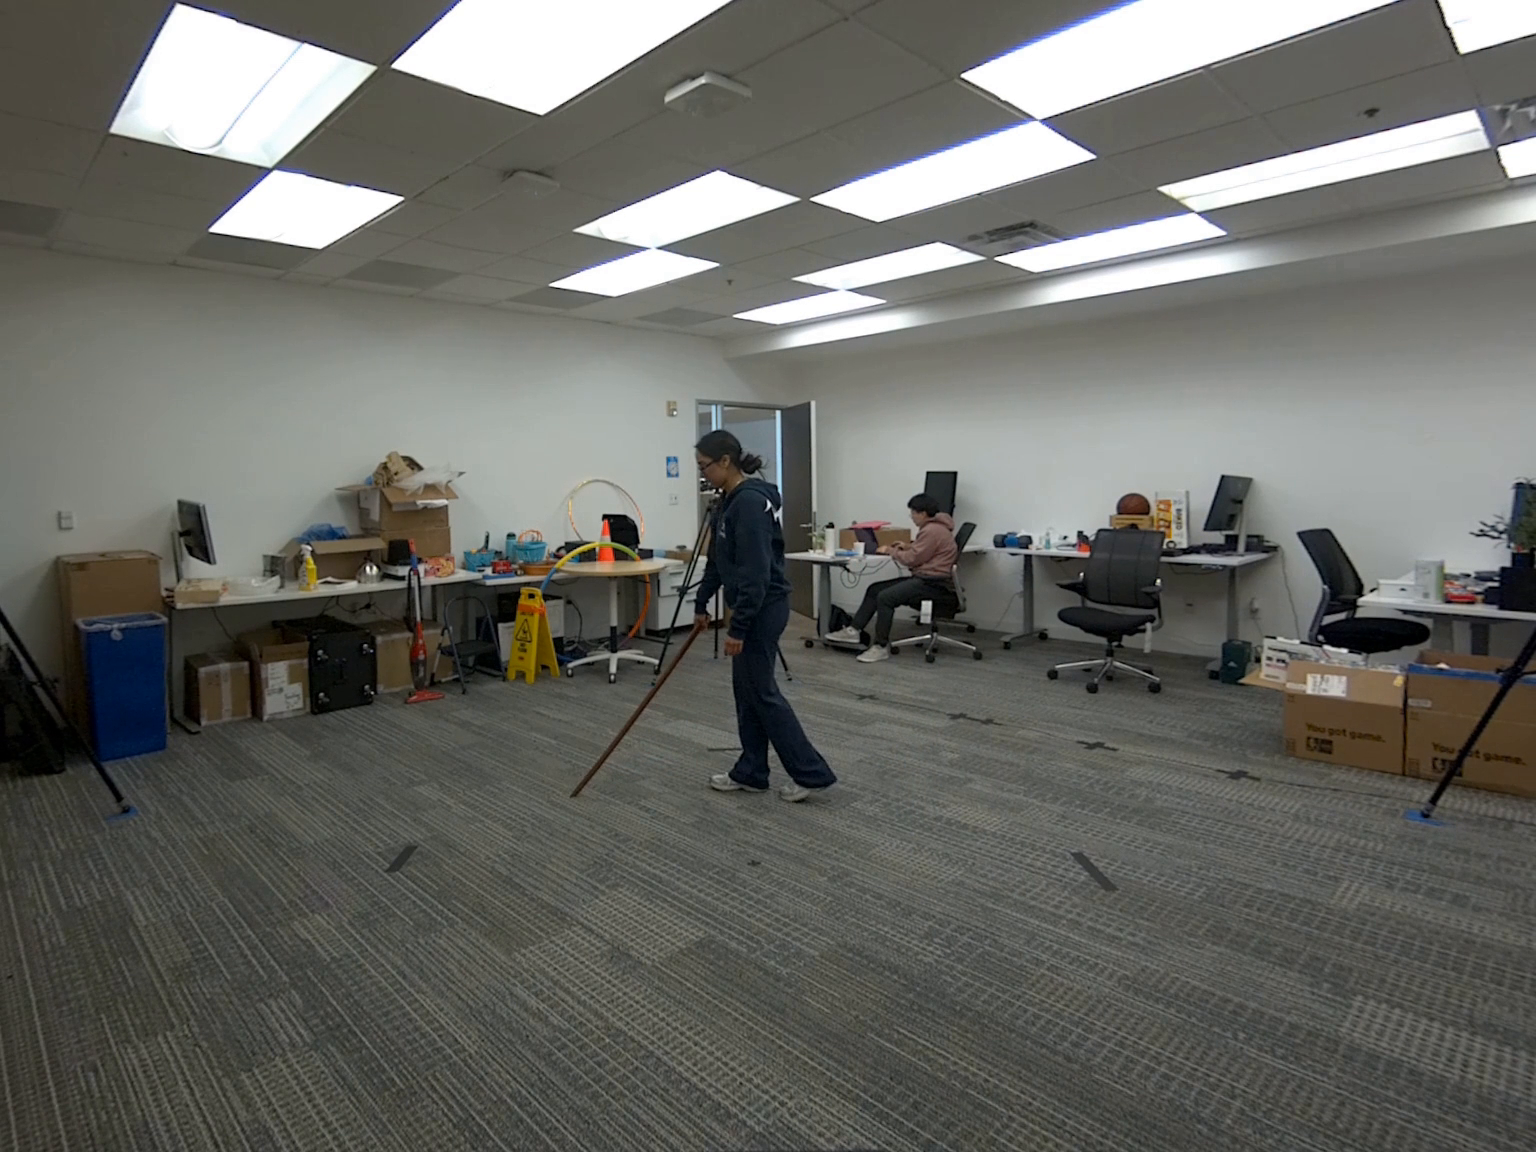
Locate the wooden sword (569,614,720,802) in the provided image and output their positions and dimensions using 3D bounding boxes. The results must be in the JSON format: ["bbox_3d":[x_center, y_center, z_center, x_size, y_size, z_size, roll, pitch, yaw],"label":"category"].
[{"bbox_3d":[-0.556,0.590,3.931,0.025,1.026,0.049,20,-23,48],"label":"wooden sword"}]
